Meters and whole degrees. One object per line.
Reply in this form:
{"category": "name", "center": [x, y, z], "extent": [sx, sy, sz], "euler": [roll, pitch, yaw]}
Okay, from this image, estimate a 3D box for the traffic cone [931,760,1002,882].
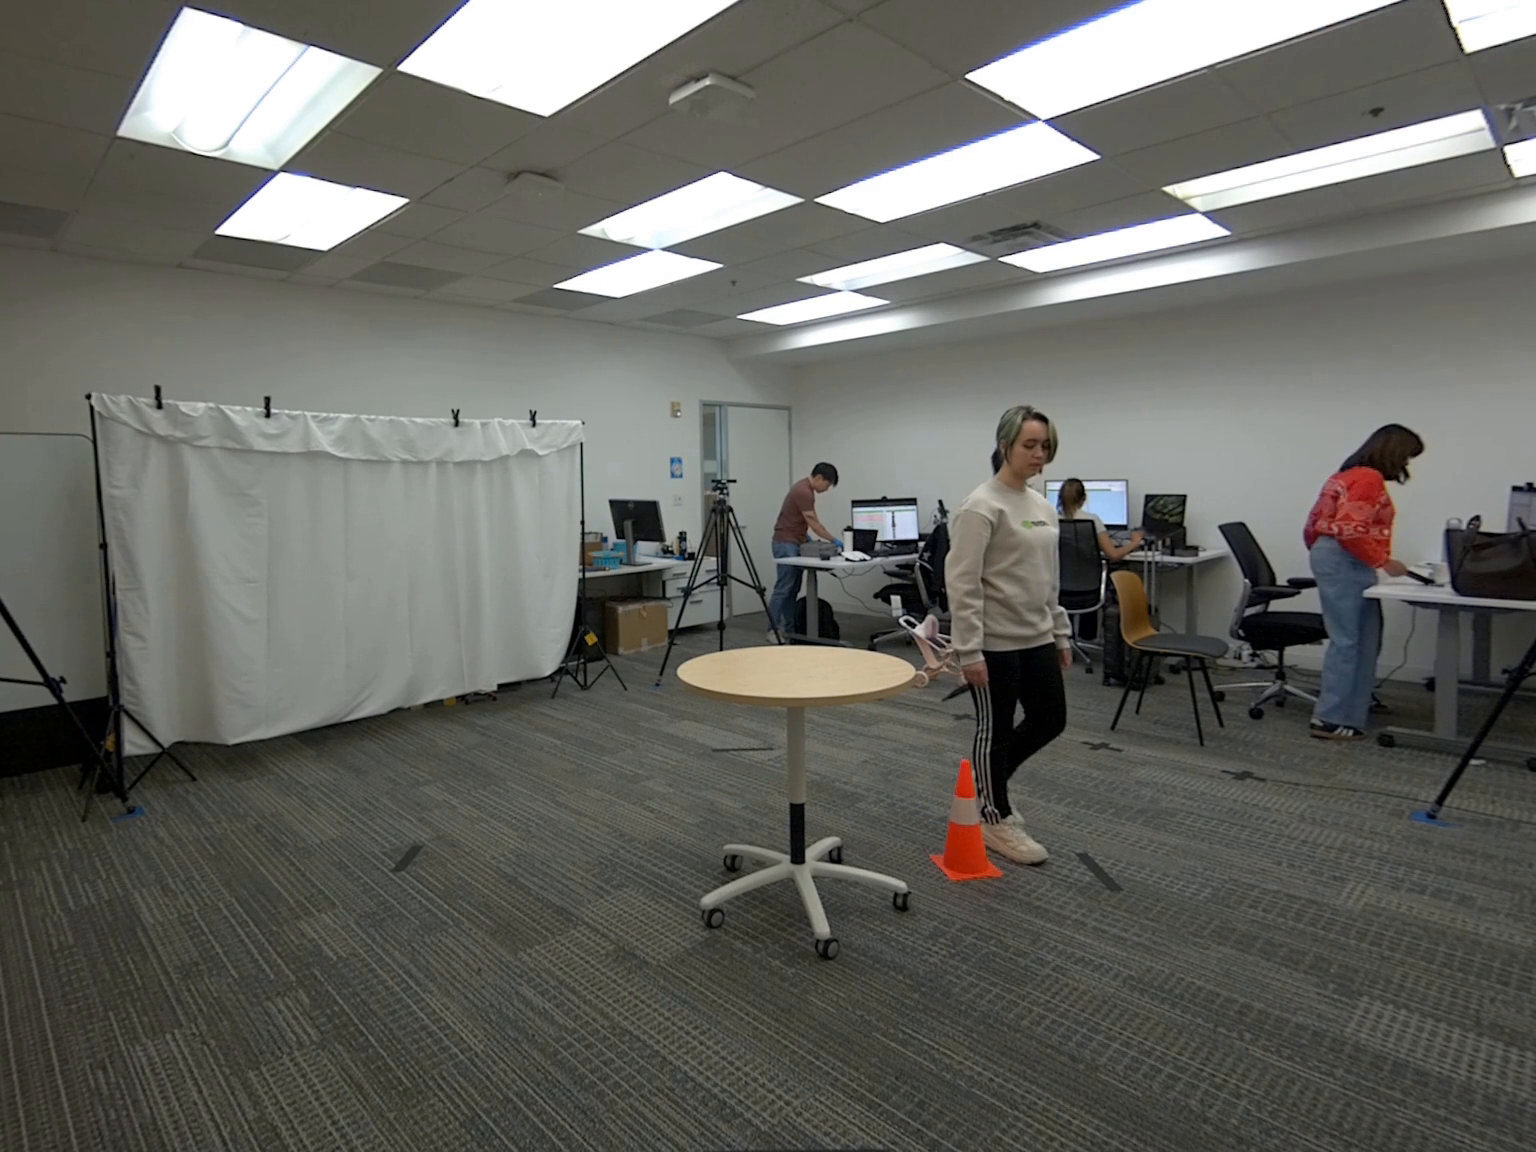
{"category": "traffic cone", "center": [0.714, 0.855, 3.053], "extent": [0.203, 0.382, 0.206], "euler": [0, 4, -10]}
